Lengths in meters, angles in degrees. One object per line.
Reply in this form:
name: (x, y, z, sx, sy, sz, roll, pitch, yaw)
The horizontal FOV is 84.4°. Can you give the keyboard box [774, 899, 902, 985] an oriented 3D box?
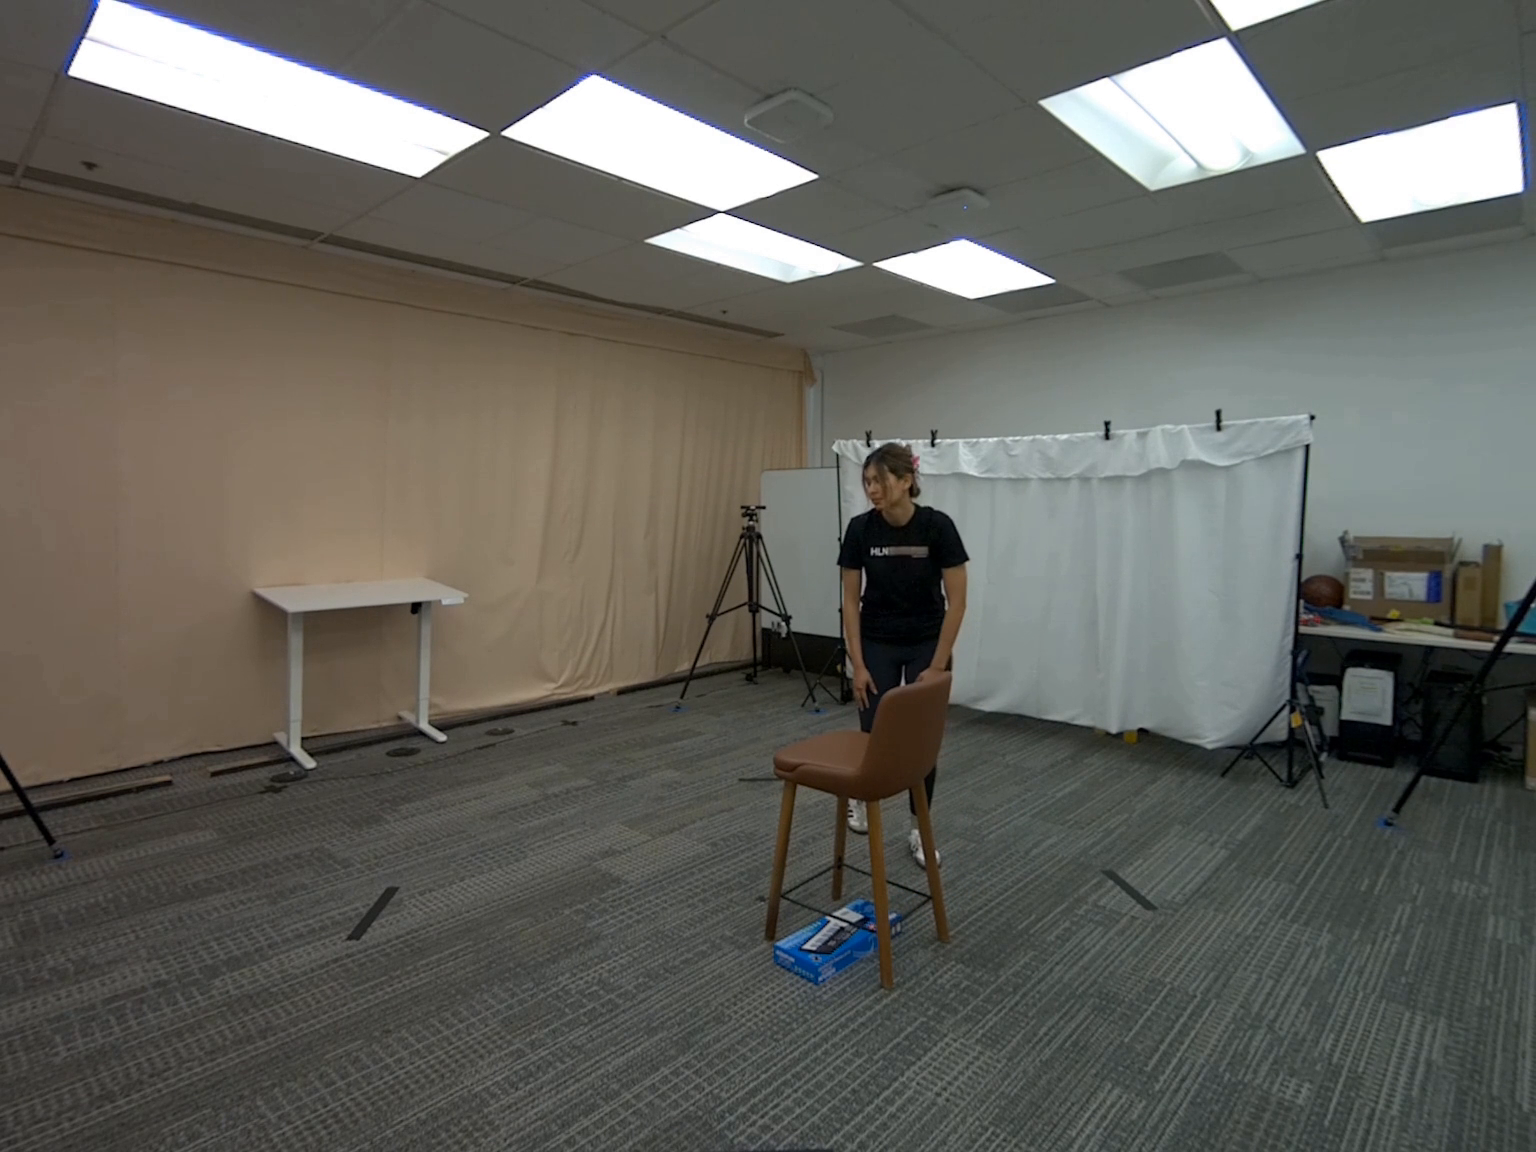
keyboard box: (0.224, 1.134, 2.655, 0.182, 0.059, 0.423, 4, 6, 43)
